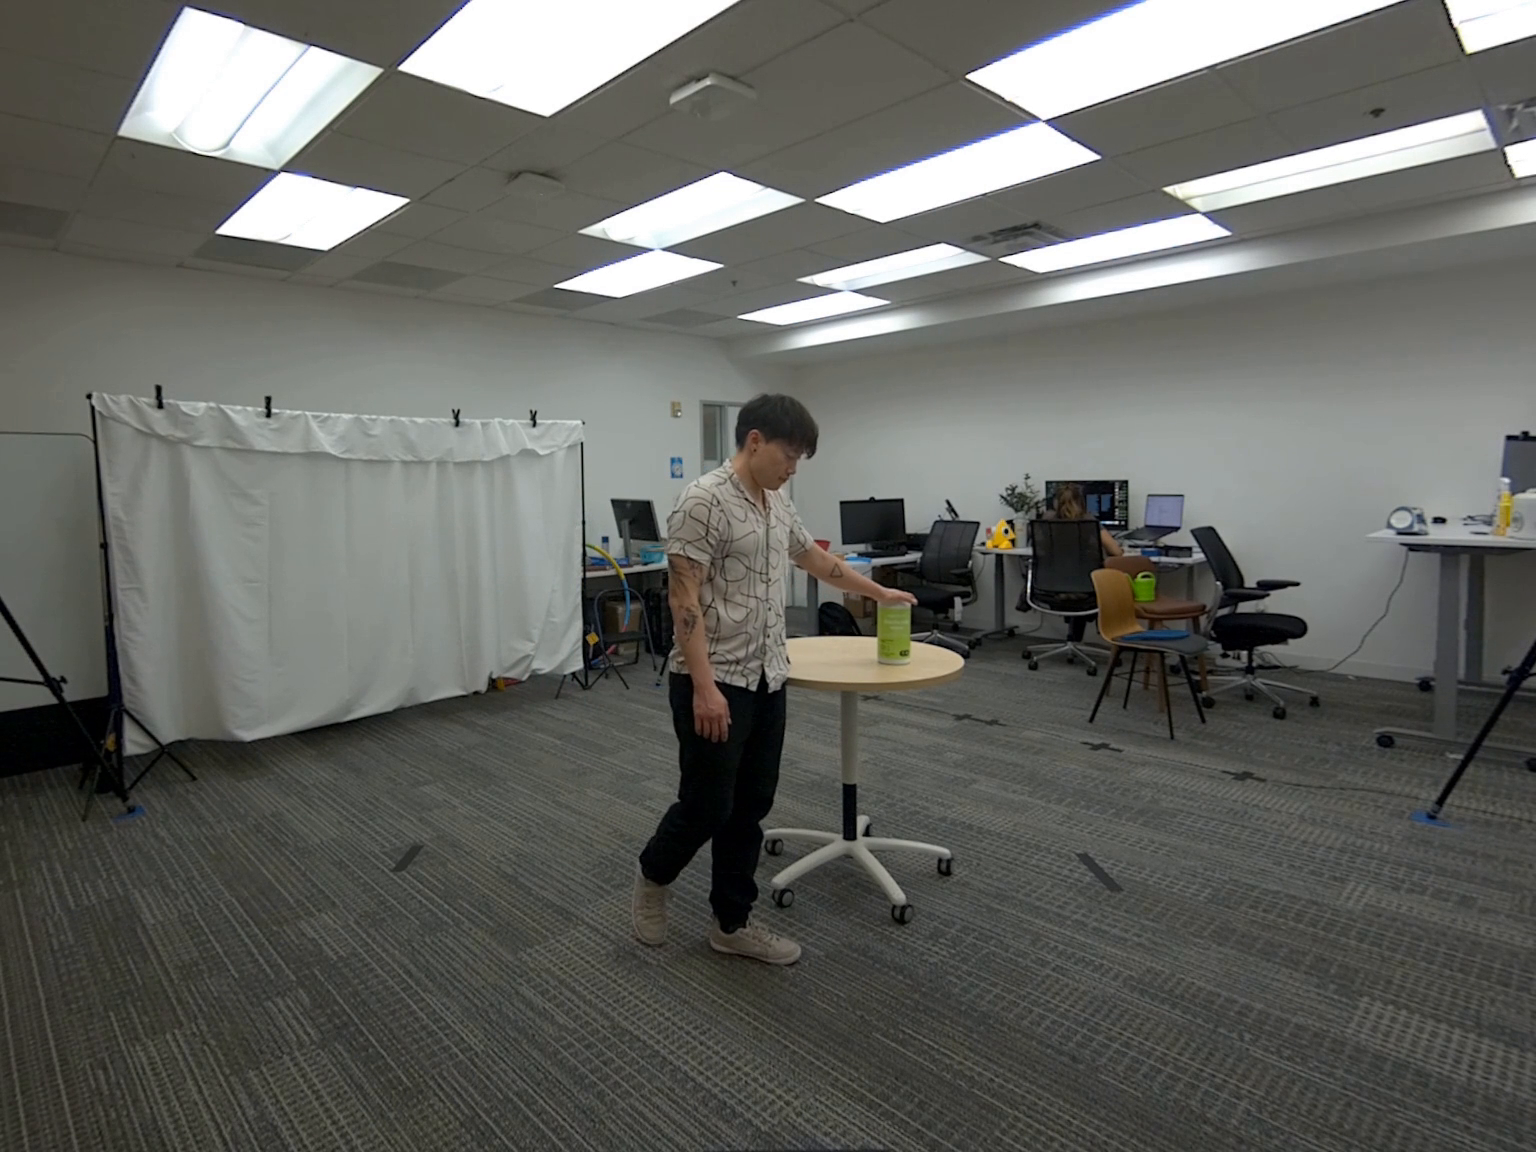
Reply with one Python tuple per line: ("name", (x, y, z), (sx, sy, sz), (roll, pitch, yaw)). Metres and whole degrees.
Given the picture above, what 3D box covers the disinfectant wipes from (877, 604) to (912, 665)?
("disinfectant wipes", (0.422, 0.185, 2.846), (0.118, 0.216, 0.118), (0, 5, -2))
